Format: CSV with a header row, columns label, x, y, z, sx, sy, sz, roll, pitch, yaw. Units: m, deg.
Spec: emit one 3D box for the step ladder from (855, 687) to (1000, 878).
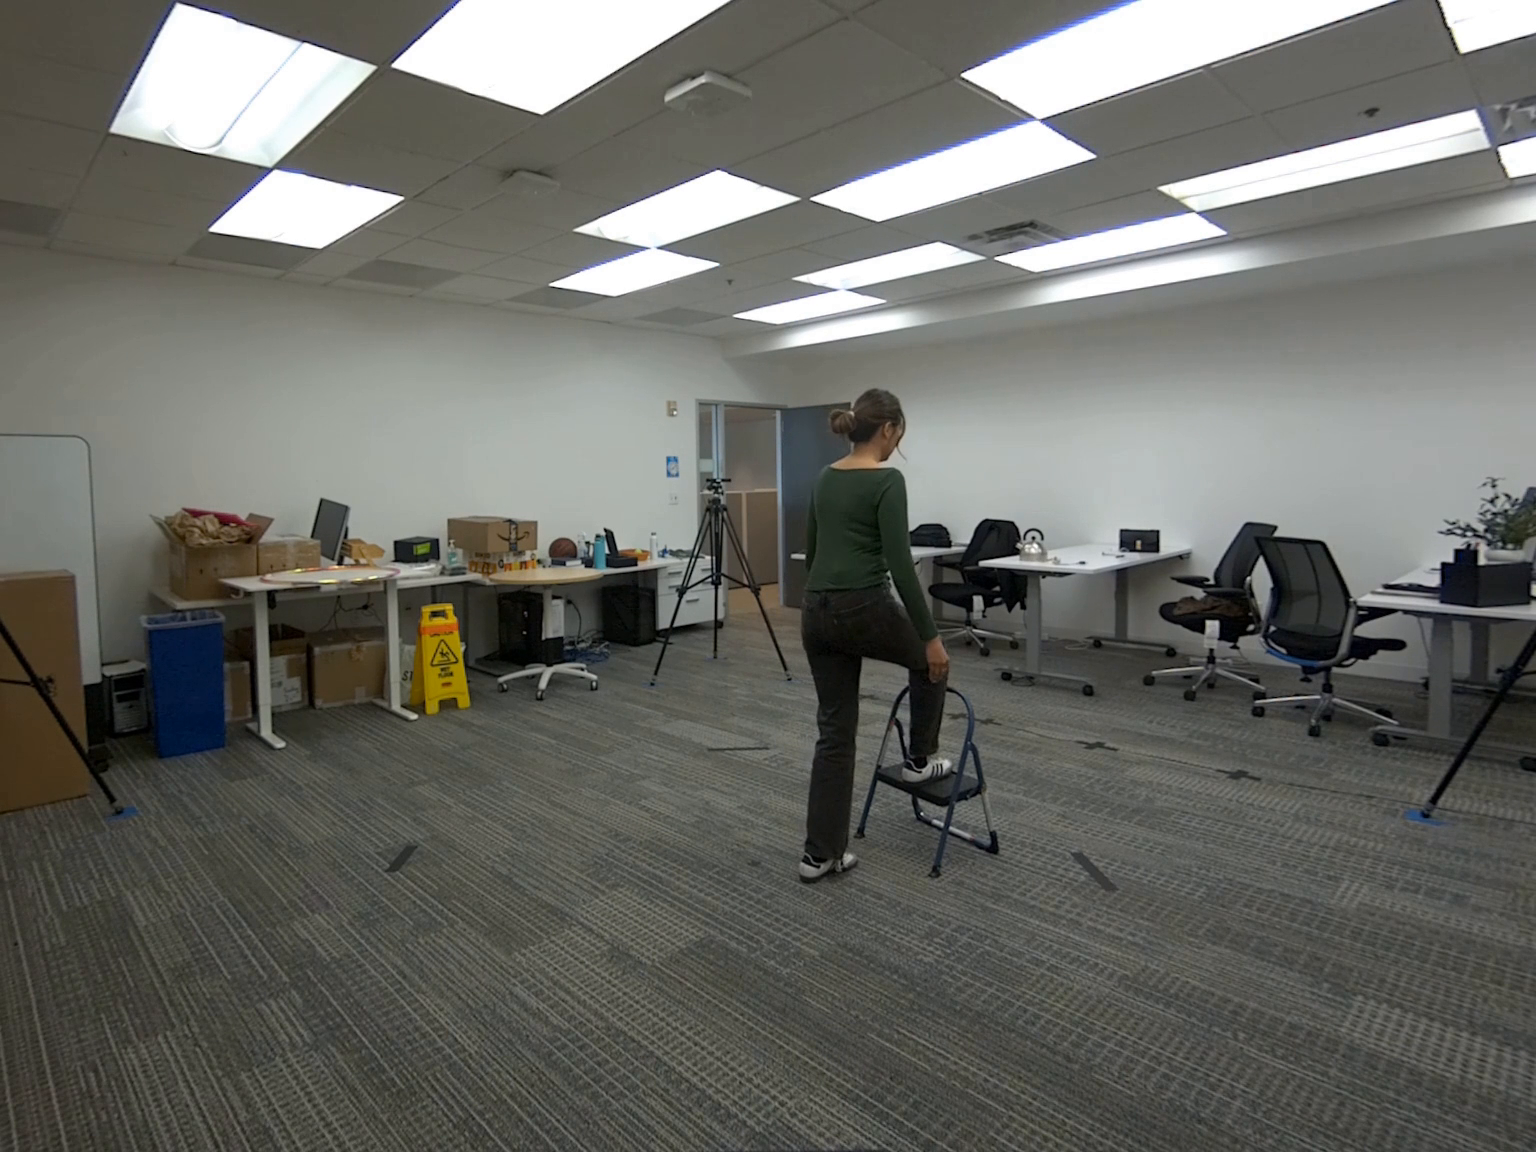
label,x,y,z,sx,sy,sz,roll,pitch,yaw
step ladder,0.595,0.719,3.219,0.340,0.604,0.443,-3,5,-34
